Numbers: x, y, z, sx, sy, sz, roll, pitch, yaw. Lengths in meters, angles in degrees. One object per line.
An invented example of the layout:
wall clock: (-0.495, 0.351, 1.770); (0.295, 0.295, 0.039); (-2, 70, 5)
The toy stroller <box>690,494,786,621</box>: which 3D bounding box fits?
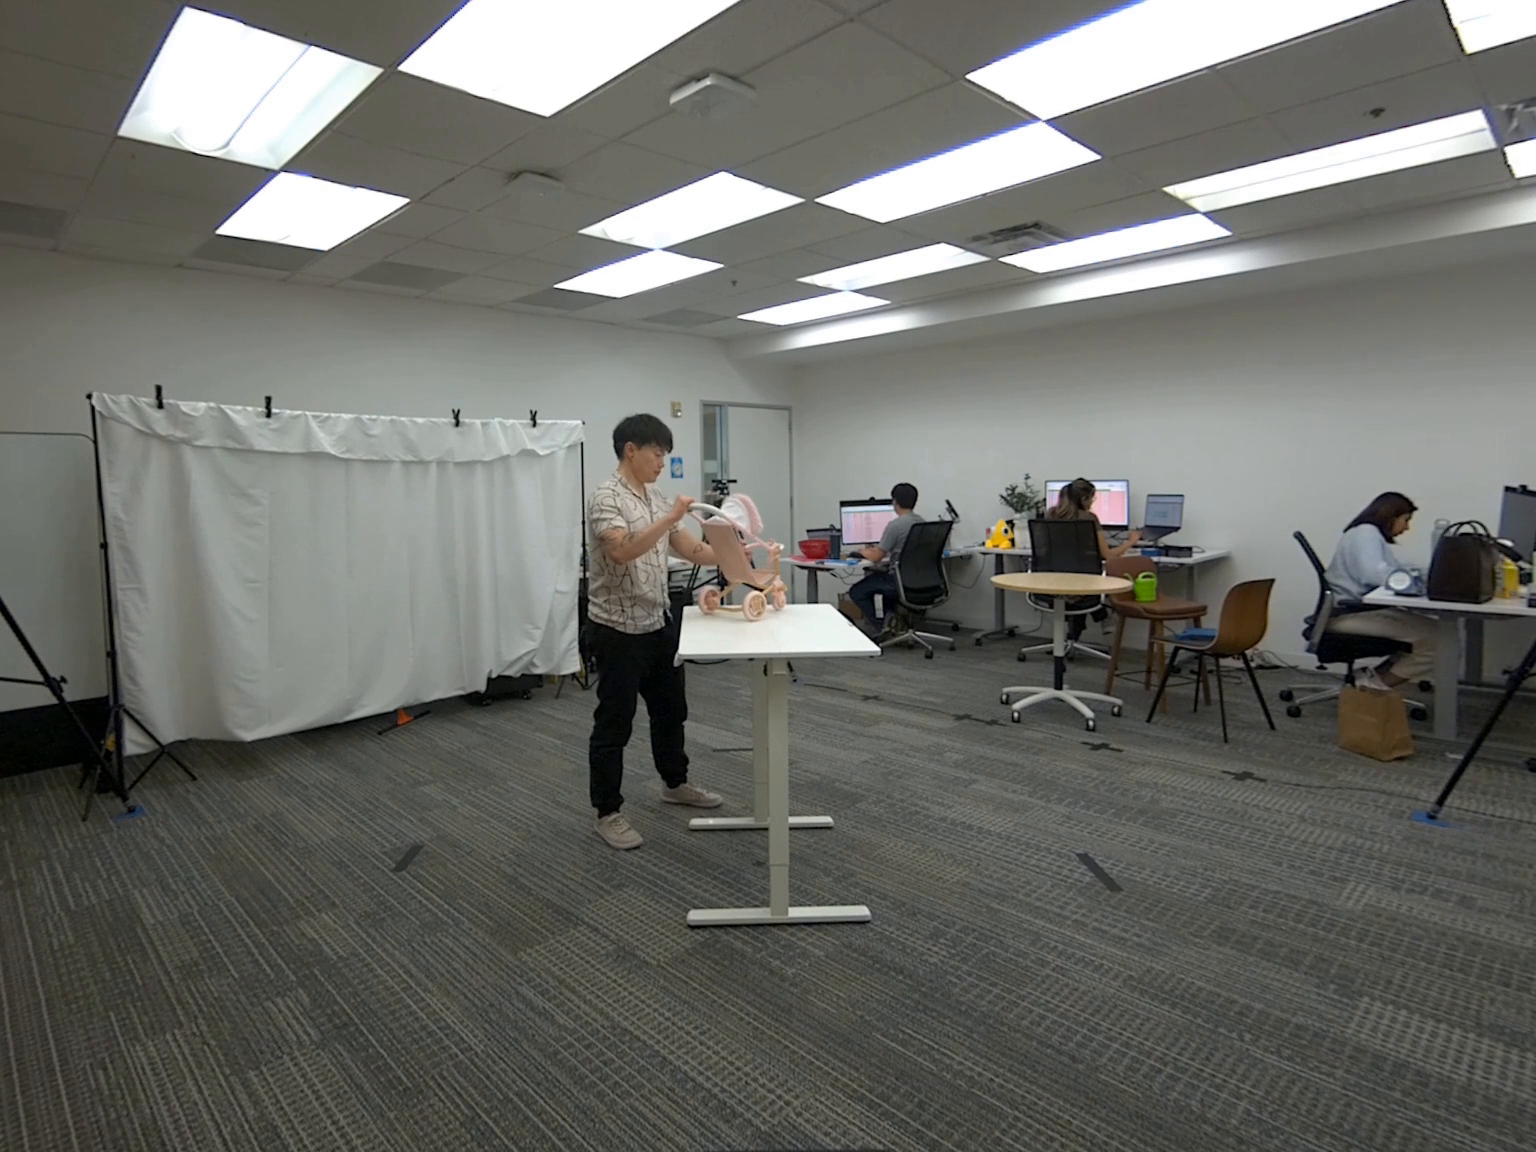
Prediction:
toy stroller: (-0.093, -0.072, 3.230); (0.336, 0.527, 0.290); (-23, 17, -36)
